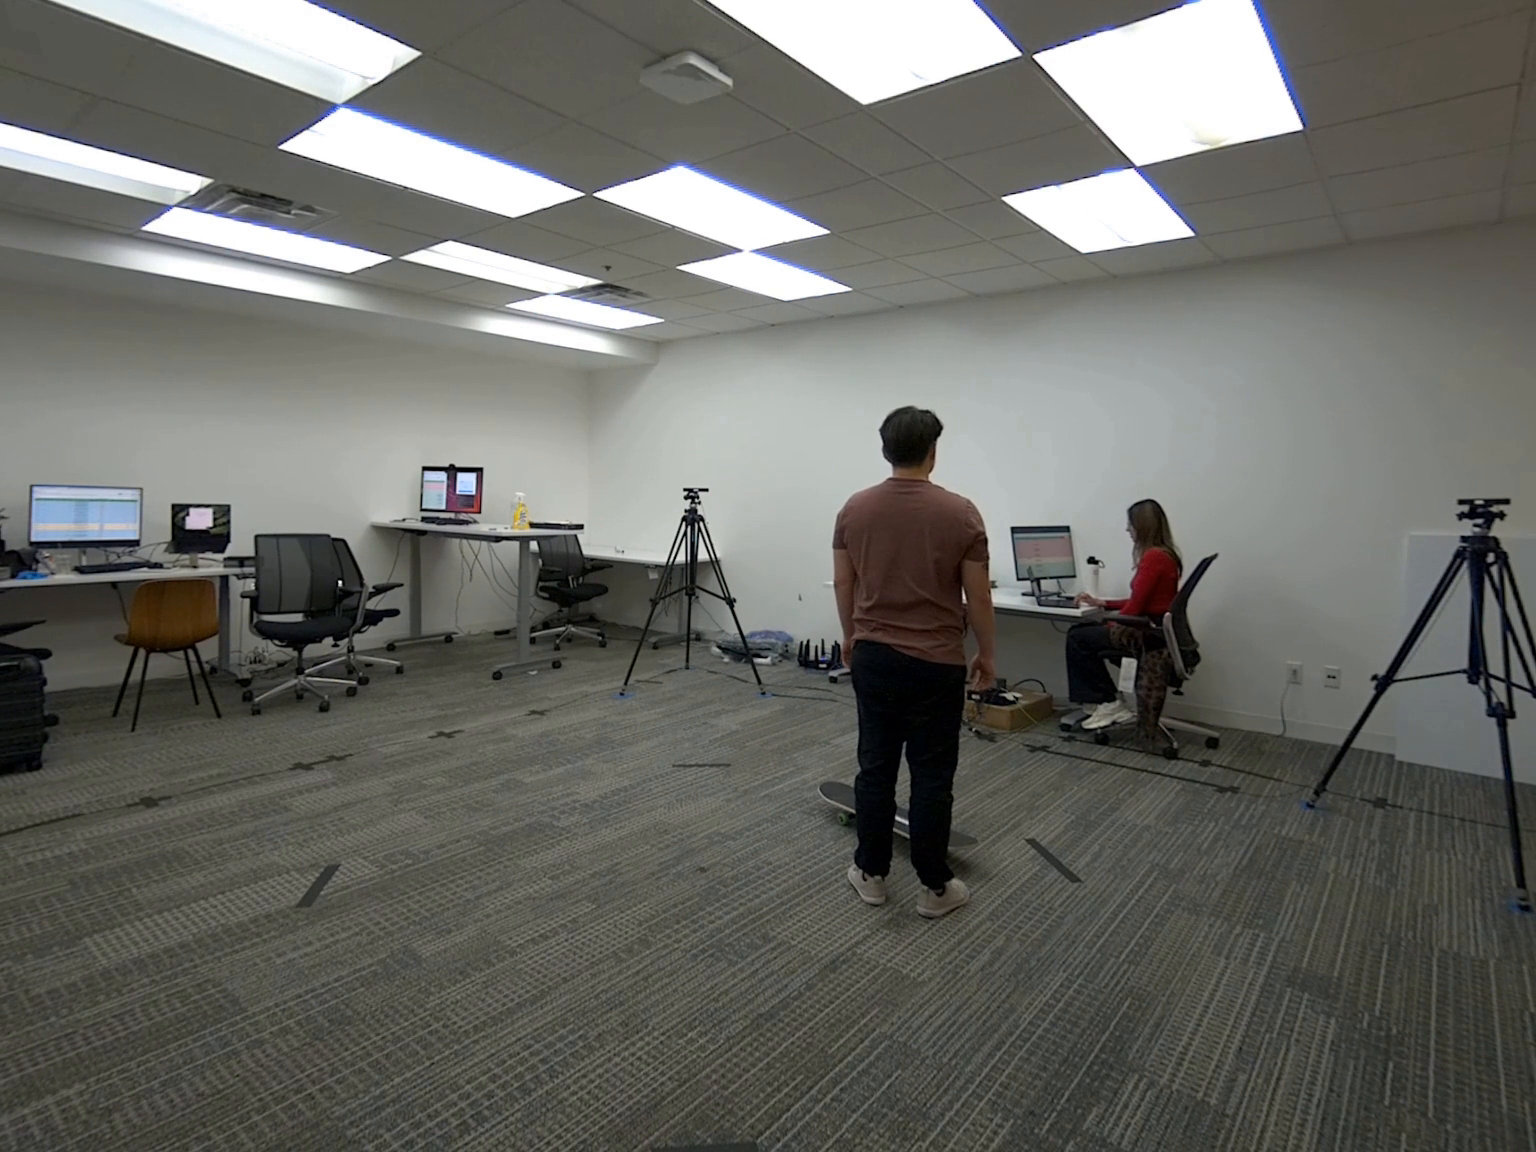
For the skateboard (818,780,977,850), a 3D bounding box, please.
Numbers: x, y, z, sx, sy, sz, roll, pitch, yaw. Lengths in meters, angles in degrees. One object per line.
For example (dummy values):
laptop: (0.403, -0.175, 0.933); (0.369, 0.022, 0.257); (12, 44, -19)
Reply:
skateboard: (0.491, 0.992, 3.437); (0.188, 0.110, 0.812); (-4, 7, -38)
